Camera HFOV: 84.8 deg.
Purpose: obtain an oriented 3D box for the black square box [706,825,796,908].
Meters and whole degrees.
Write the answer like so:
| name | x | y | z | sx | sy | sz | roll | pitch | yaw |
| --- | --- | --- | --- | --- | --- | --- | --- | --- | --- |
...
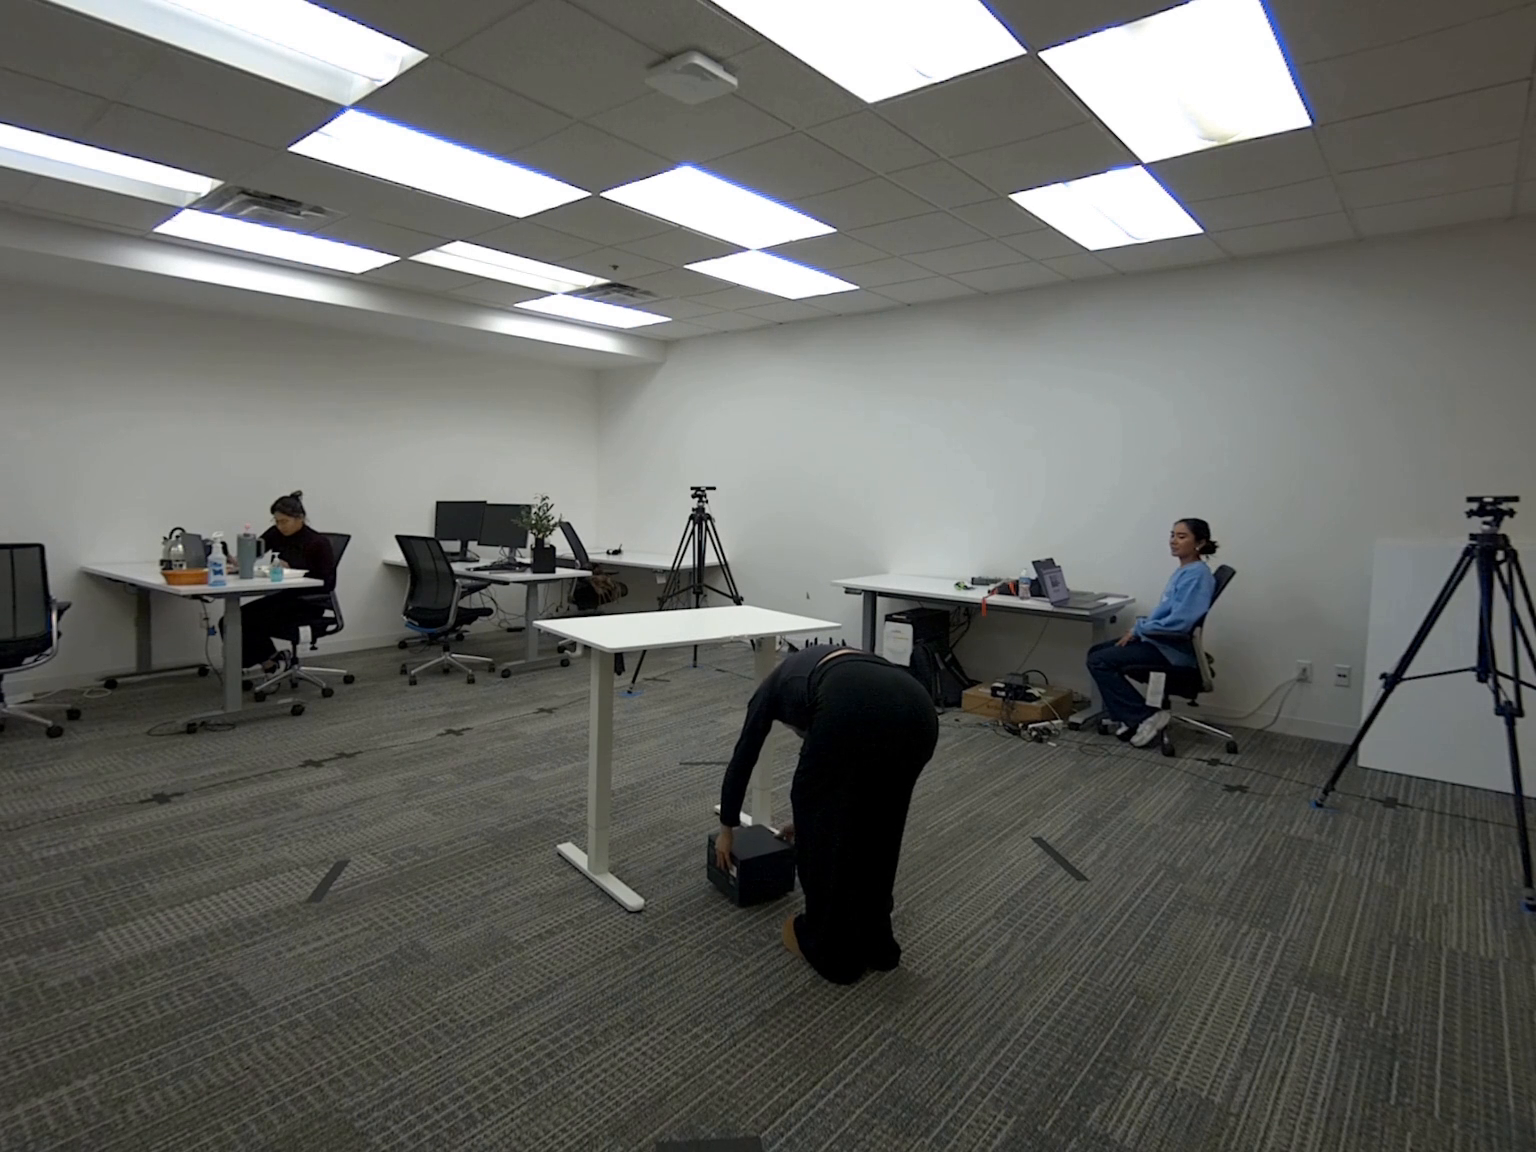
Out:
| name | x | y | z | sx | sy | sz | roll | pitch | yaw |
| --- | --- | --- | --- | --- | --- | --- | --- | --- | --- |
| black square box | -0.066 | 0.982 | 2.934 | 0.221 | 0.155 | 0.224 | -1 | 6 | -33 |
